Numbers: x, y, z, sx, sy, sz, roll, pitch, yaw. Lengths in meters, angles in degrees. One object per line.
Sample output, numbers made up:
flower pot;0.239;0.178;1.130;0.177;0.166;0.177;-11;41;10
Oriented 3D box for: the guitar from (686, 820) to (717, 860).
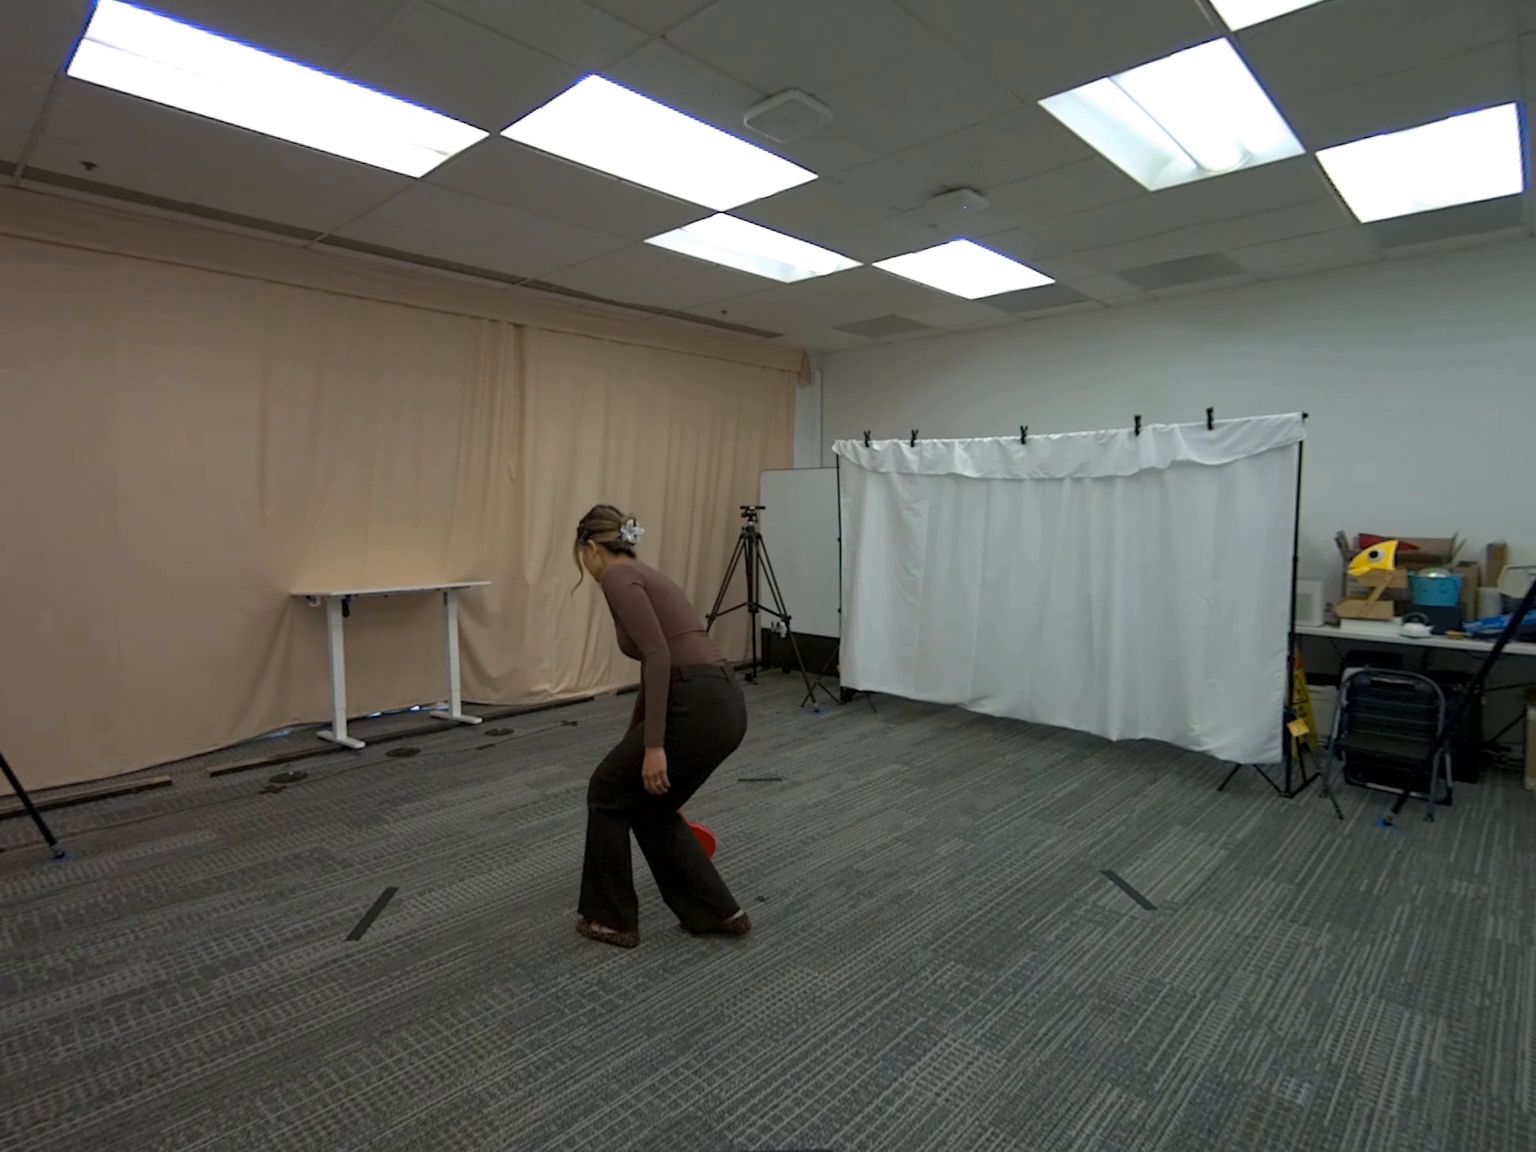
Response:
guitar;-0.413;0.861;3.058;0.500;0.193;0.070;44;-1;4
